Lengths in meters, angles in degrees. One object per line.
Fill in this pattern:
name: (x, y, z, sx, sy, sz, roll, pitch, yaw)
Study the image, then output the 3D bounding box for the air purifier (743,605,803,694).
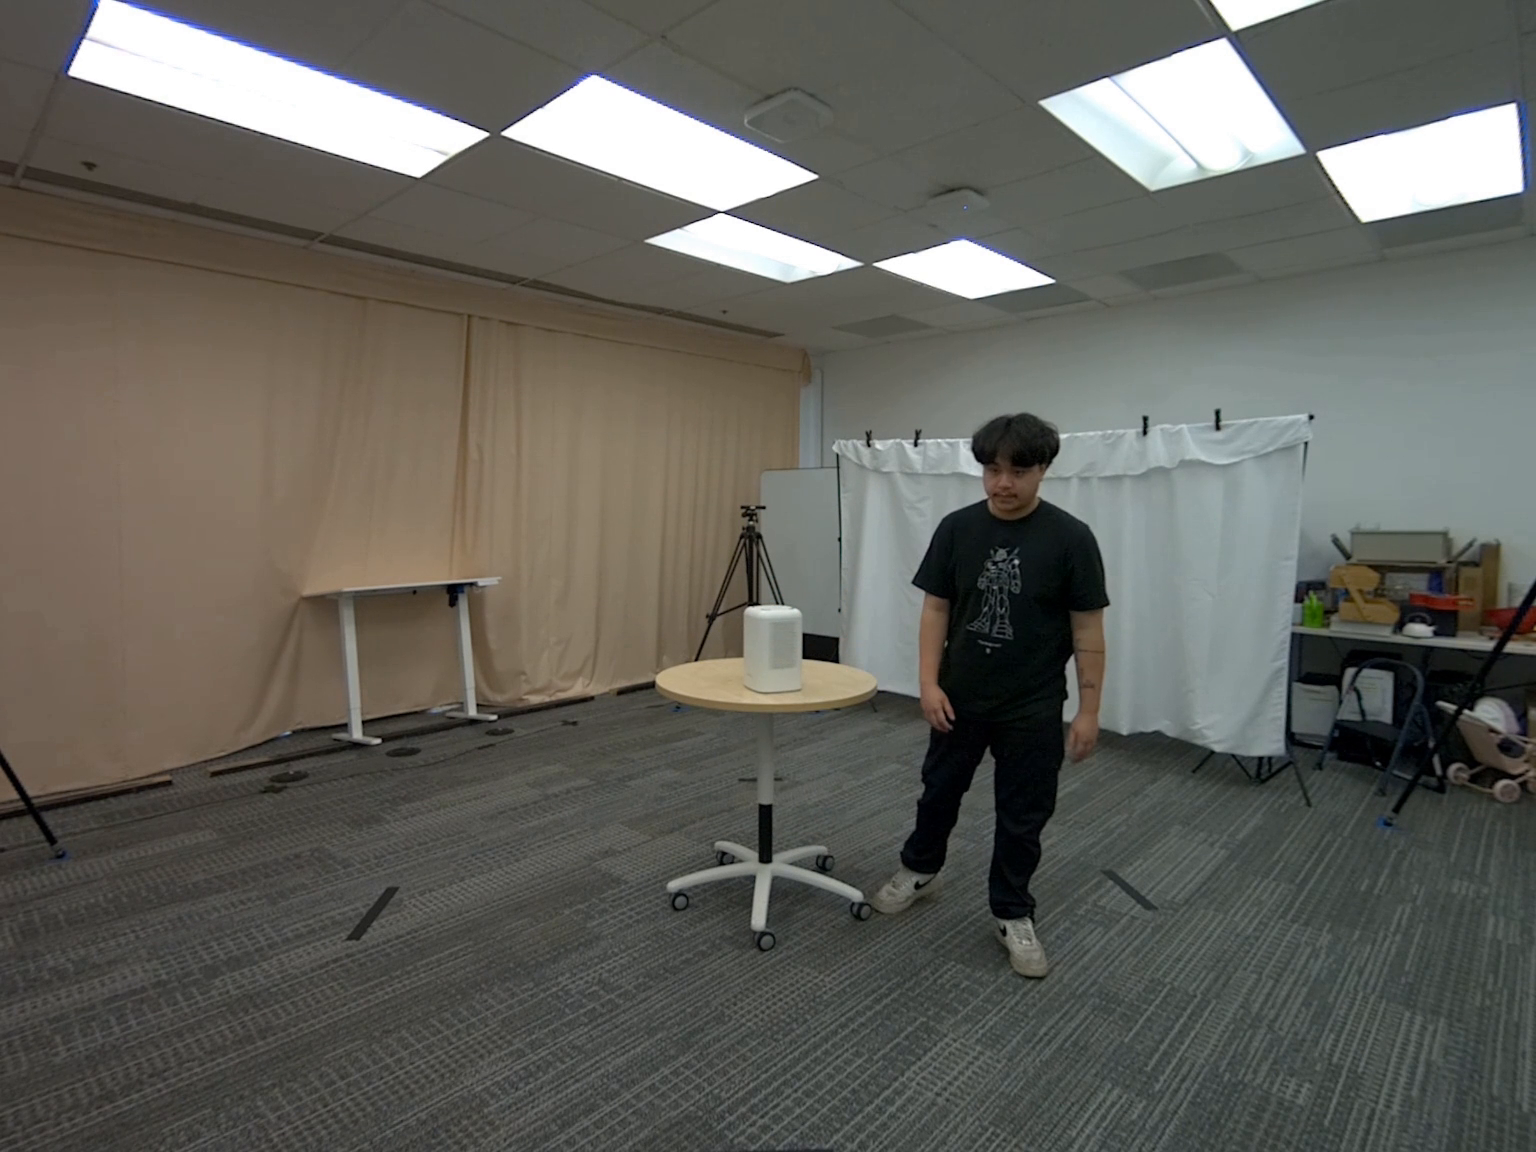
air purifier: (0.018, 0.237, 2.769, 0.167, 0.265, 0.175, -1, 4, -25)
